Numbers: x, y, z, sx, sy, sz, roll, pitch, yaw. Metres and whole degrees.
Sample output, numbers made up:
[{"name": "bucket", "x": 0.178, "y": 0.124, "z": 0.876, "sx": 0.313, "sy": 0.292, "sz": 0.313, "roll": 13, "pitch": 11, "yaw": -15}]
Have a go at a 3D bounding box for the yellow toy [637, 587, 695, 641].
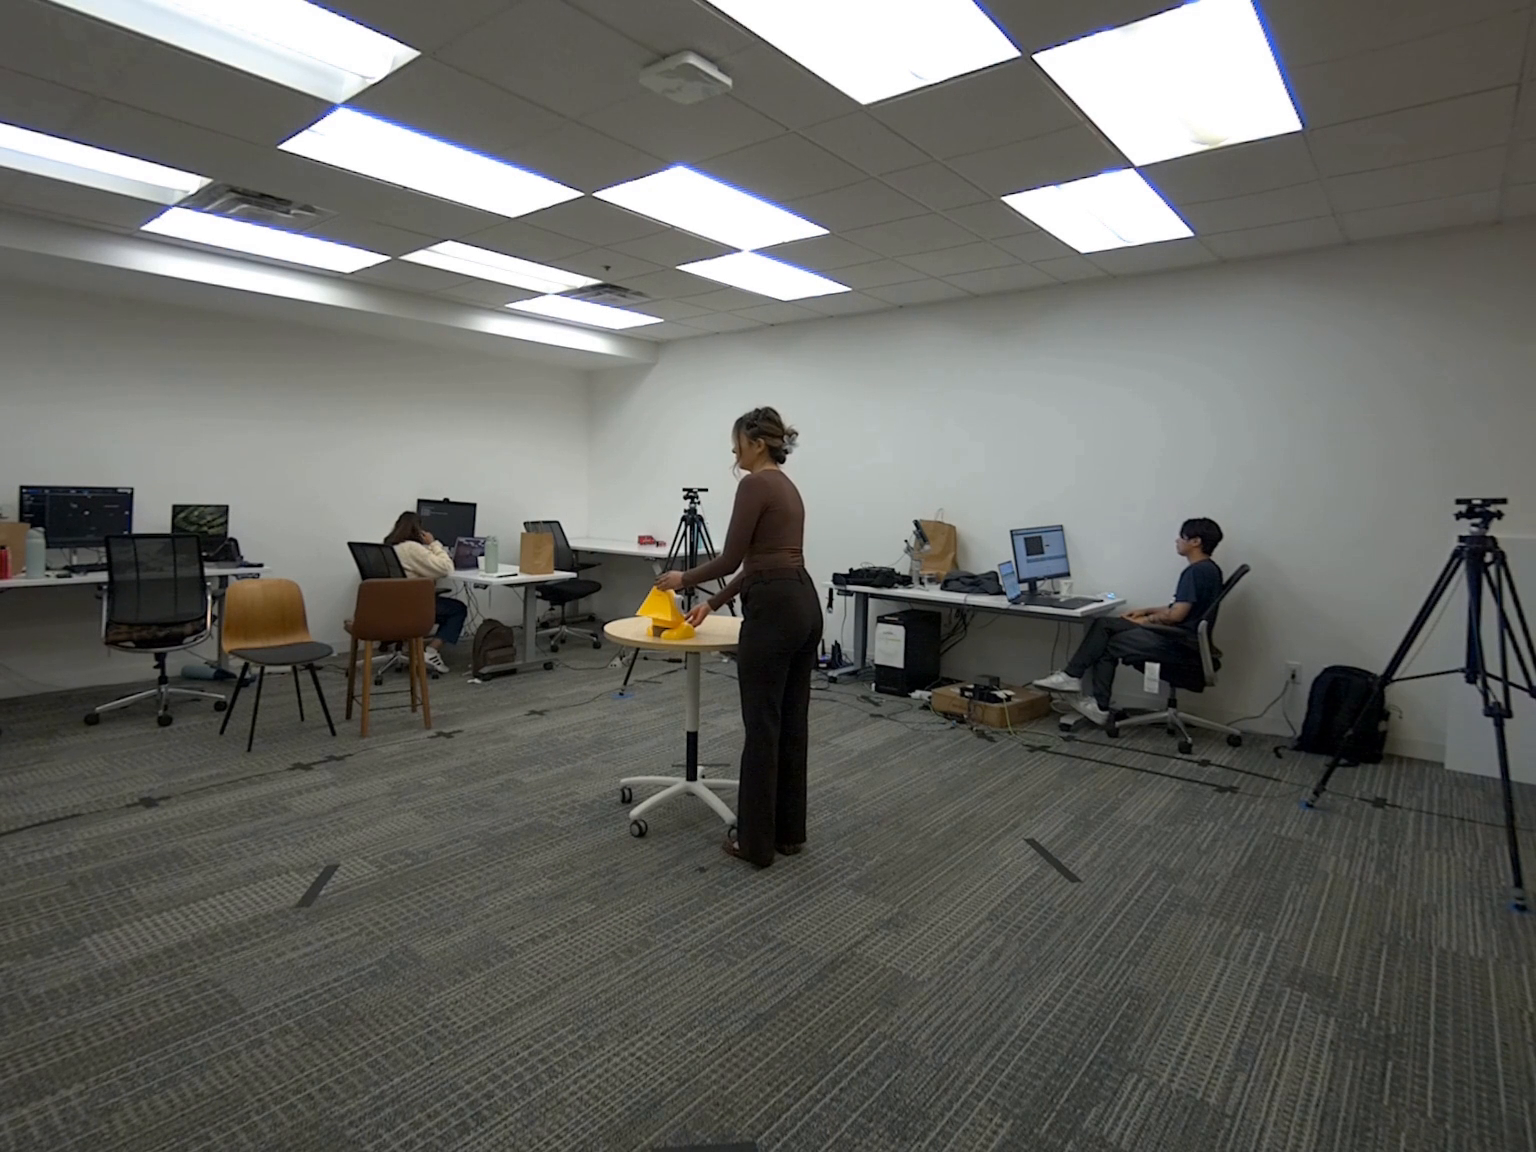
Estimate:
[{"name": "yellow toy", "x": -0.412, "y": 0.123, "z": 3.449, "sx": 0.212, "sy": 0.230, "sz": 0.187, "roll": 5, "pitch": 5, "yaw": 41}]
